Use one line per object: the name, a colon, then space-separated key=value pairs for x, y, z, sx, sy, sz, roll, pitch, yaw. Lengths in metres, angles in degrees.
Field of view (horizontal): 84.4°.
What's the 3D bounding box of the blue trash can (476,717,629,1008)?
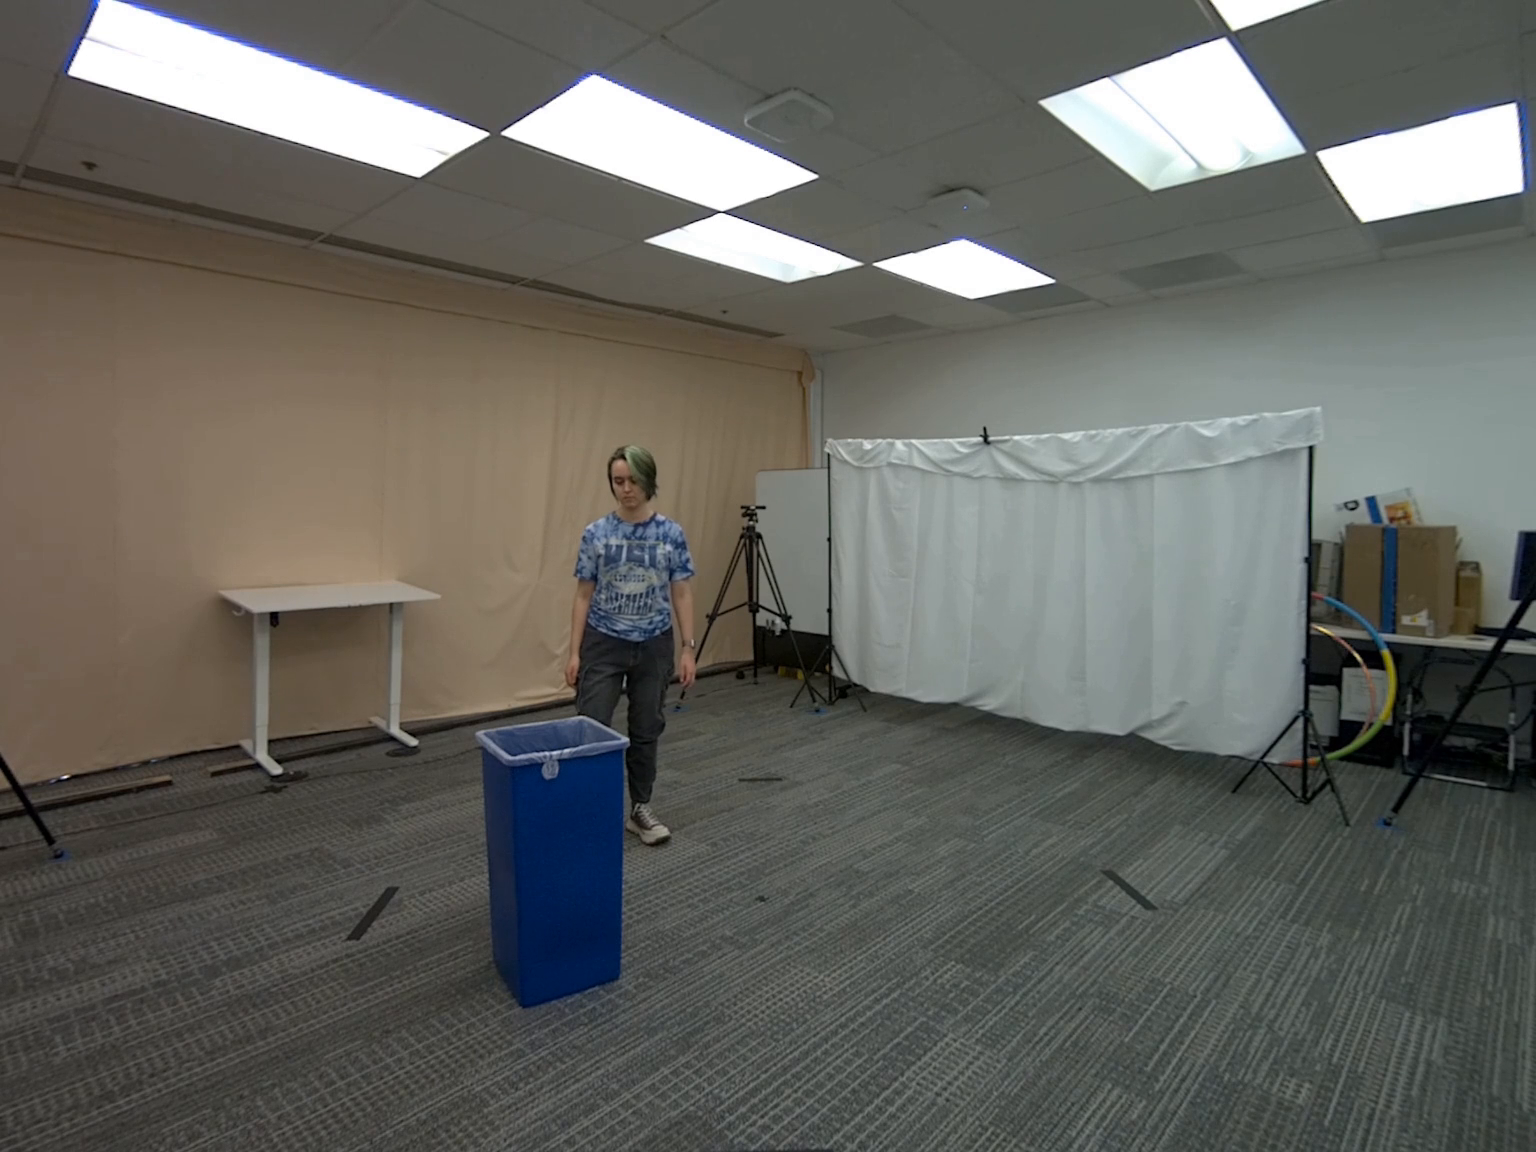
blue trash can: x=-0.651 y=0.827 z=2.525 sx=0.367 sy=0.712 sz=0.385 roll=-2 pitch=3 yaw=-33
